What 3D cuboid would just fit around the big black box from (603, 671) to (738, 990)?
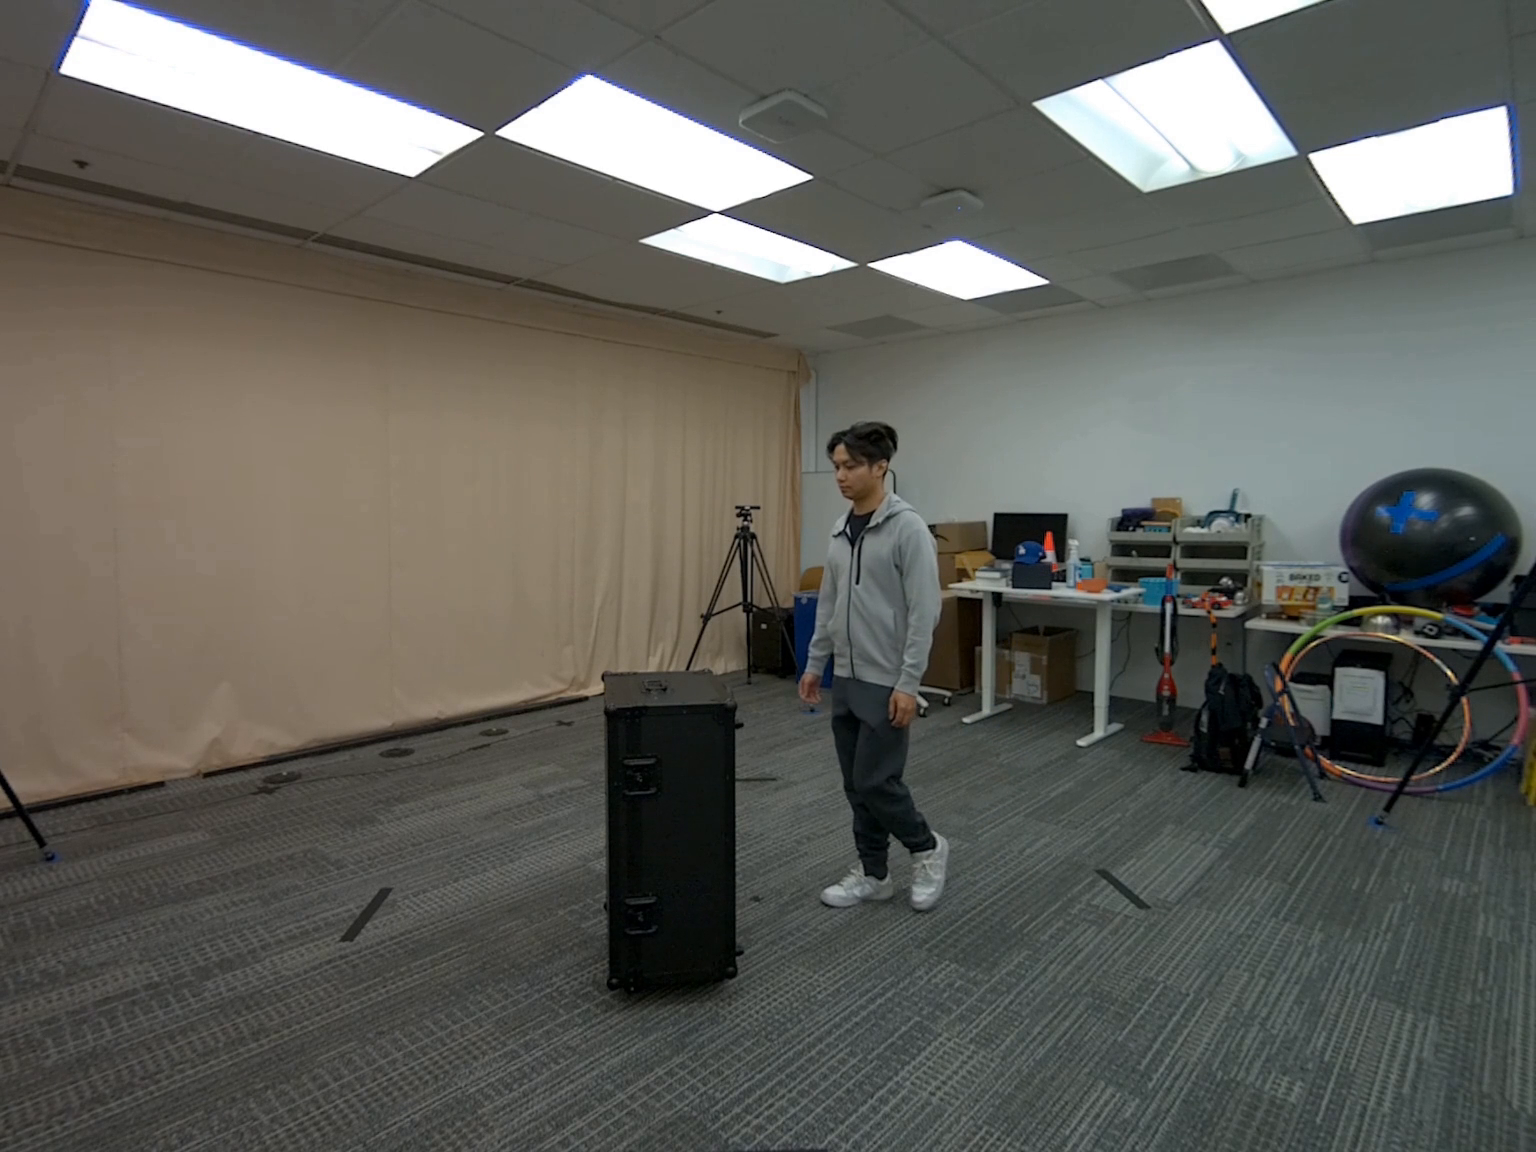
[{"bbox_3d":[-0.302,0.755,2.549,0.392,0.860,0.528,0,2,-12],"label":"big black box"}]
